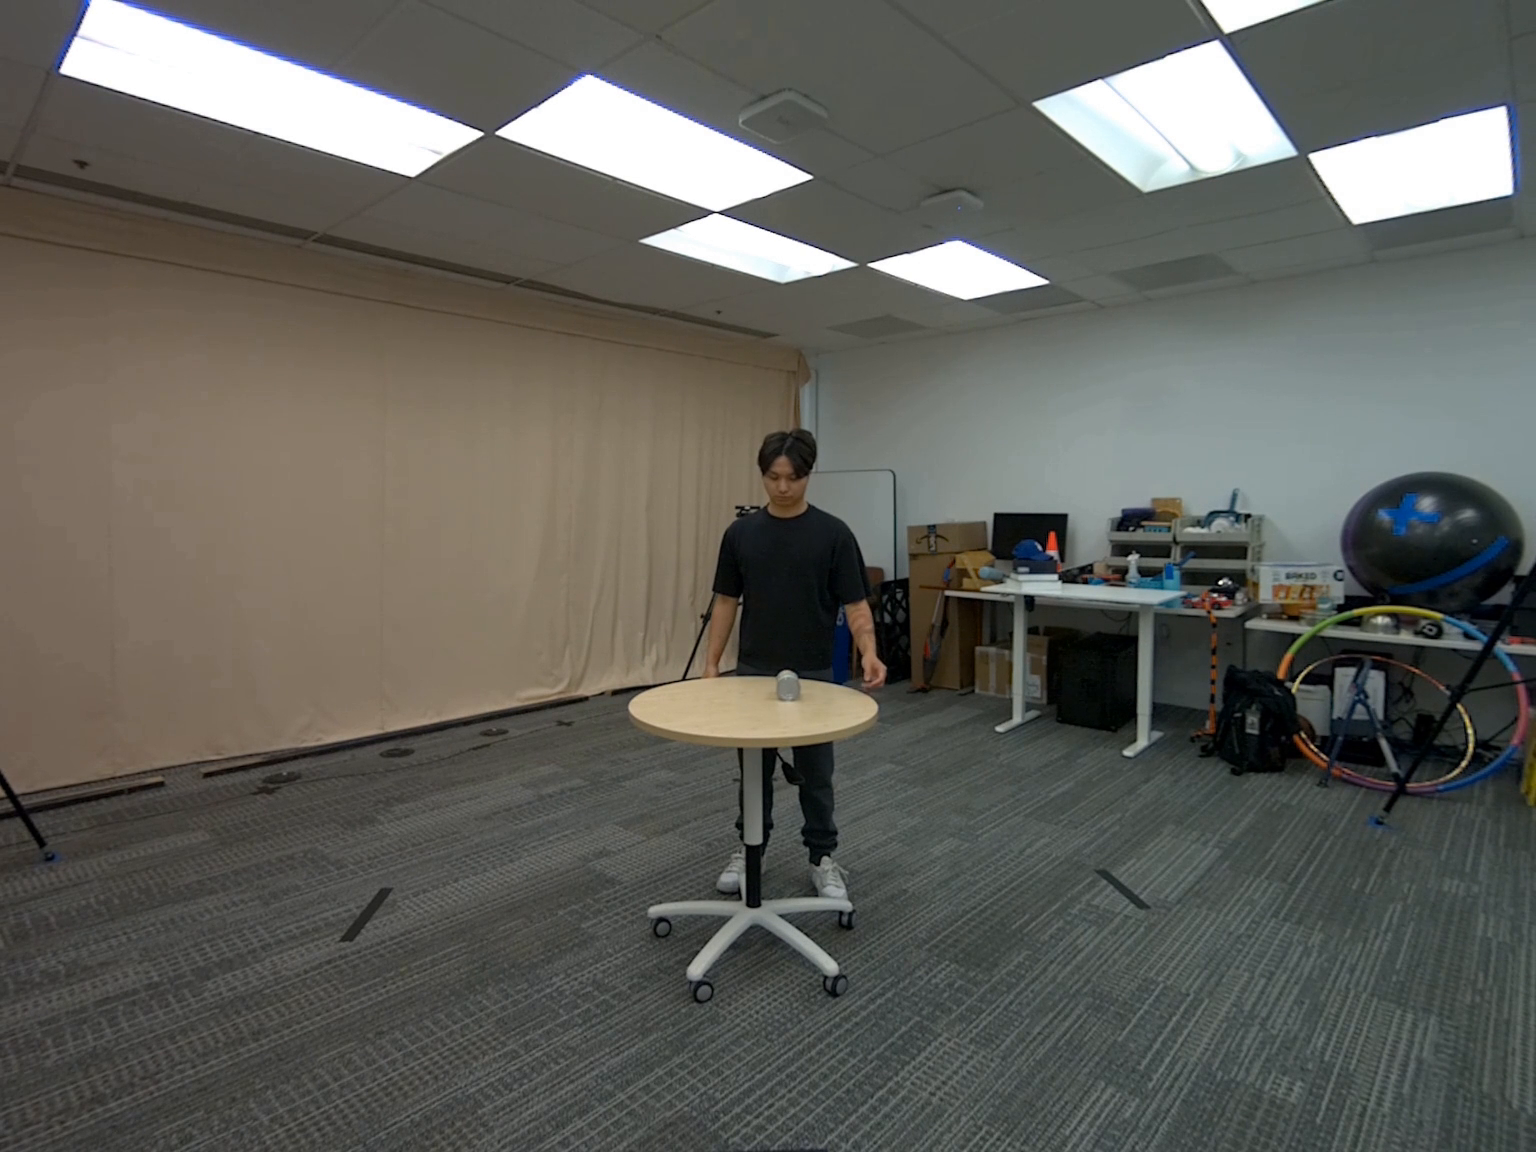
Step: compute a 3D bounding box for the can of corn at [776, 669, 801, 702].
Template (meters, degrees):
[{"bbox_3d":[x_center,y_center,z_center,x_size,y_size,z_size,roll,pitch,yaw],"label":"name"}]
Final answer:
[{"bbox_3d":[0.069,0.346,2.685,0.074,0.074,0.111,0,4,1],"label":"can of corn"}]
